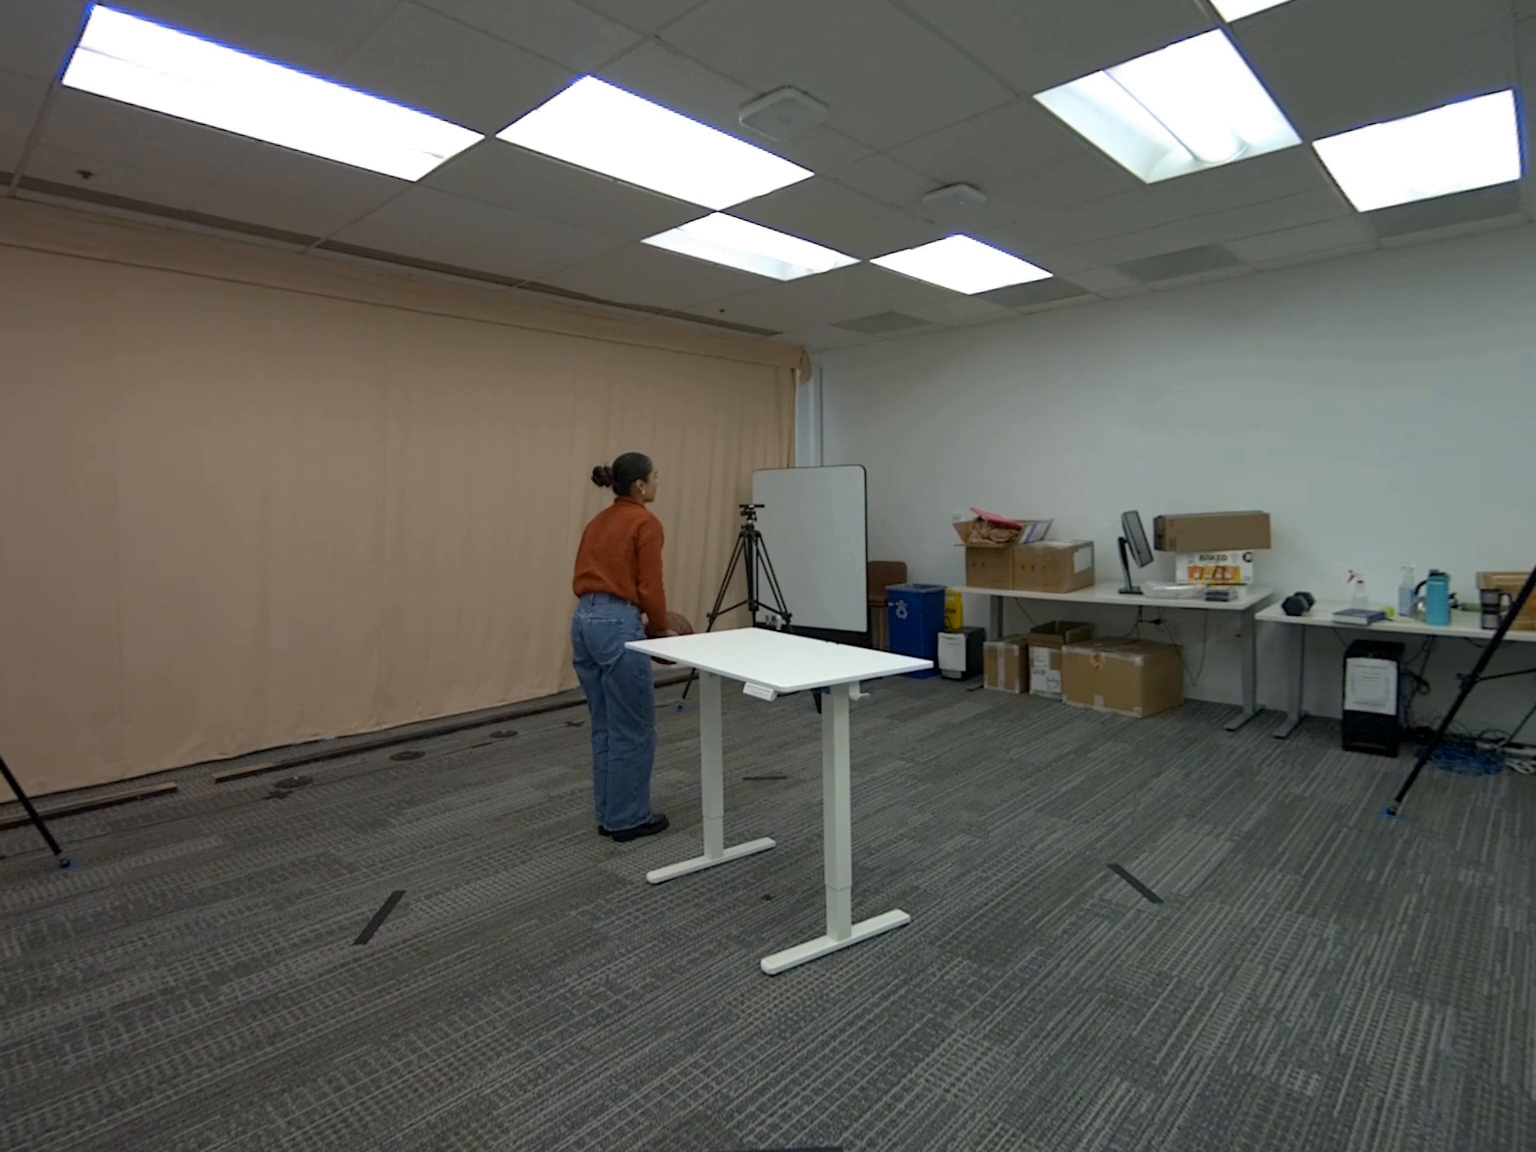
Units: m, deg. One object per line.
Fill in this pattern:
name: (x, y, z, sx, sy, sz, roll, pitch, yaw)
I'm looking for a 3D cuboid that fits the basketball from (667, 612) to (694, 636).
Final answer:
basketball: (-0.447, 0.284, 3.750, 0.236, 0.235, 0.237, -1, 4, -2)
